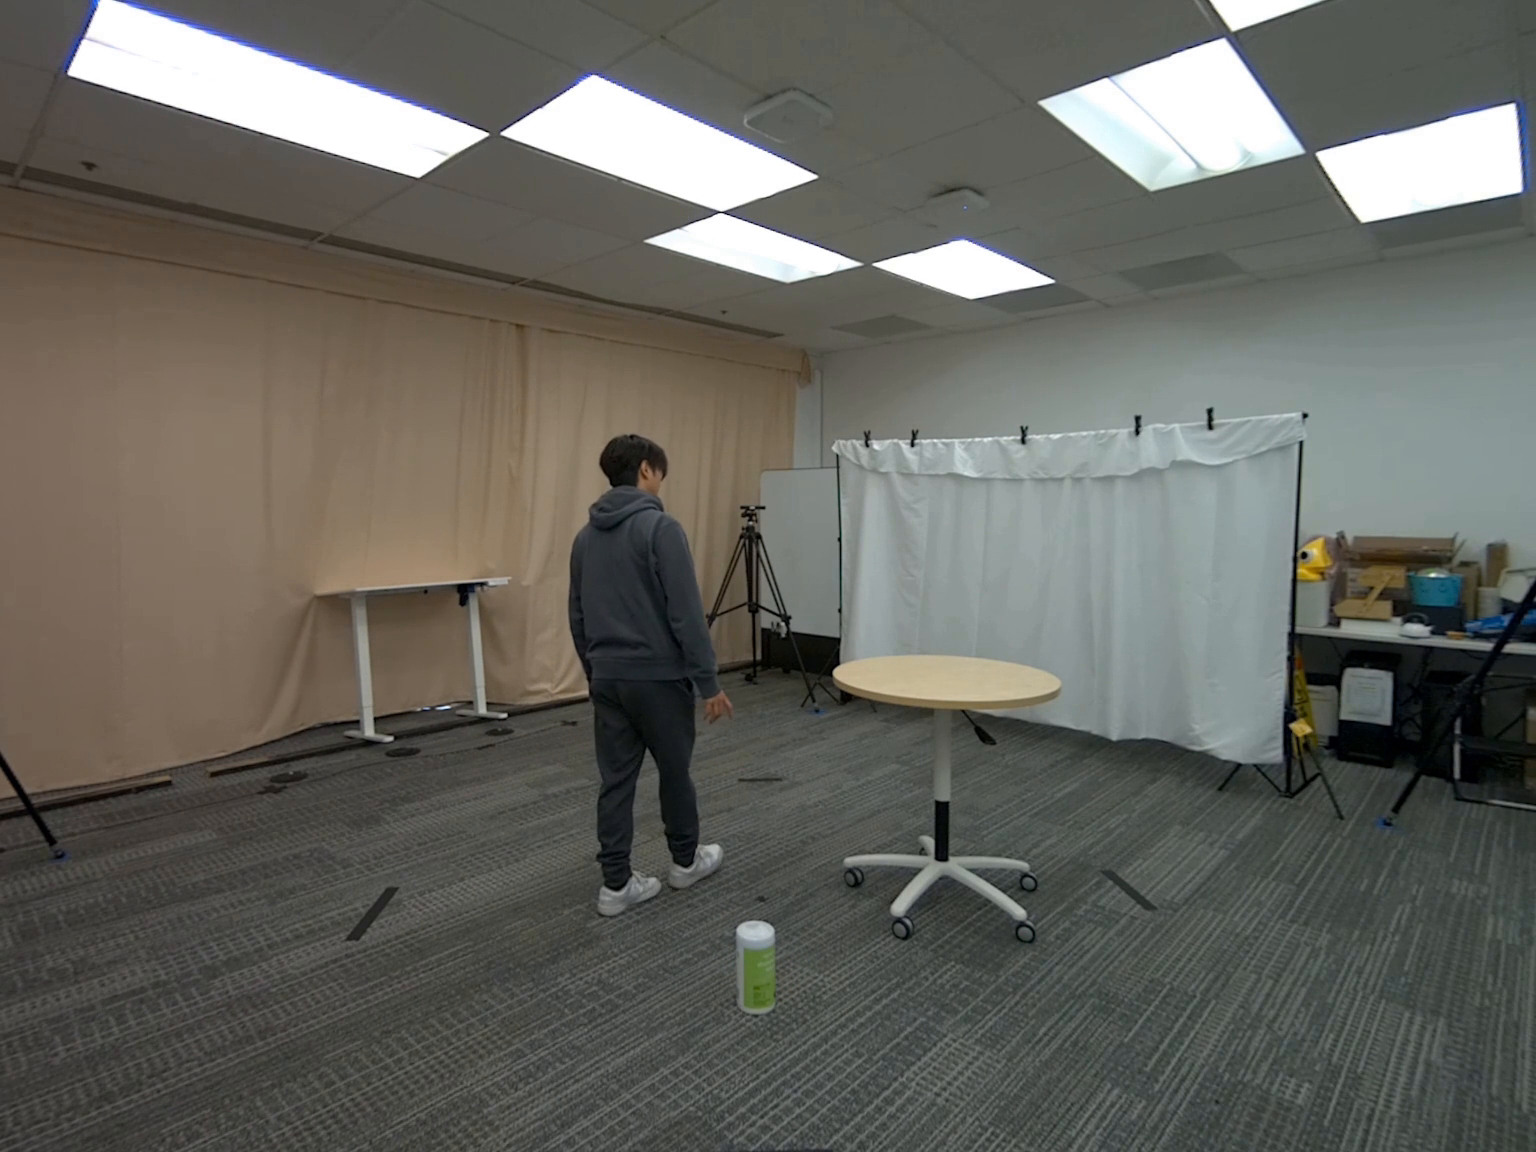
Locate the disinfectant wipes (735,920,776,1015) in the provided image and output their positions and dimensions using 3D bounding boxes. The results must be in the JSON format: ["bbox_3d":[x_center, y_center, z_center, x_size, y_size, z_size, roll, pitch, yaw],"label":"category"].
[{"bbox_3d":[-0.033,1.090,2.342,0.118,0.217,0.118,-1,4,-2],"label":"disinfectant wipes"}]
